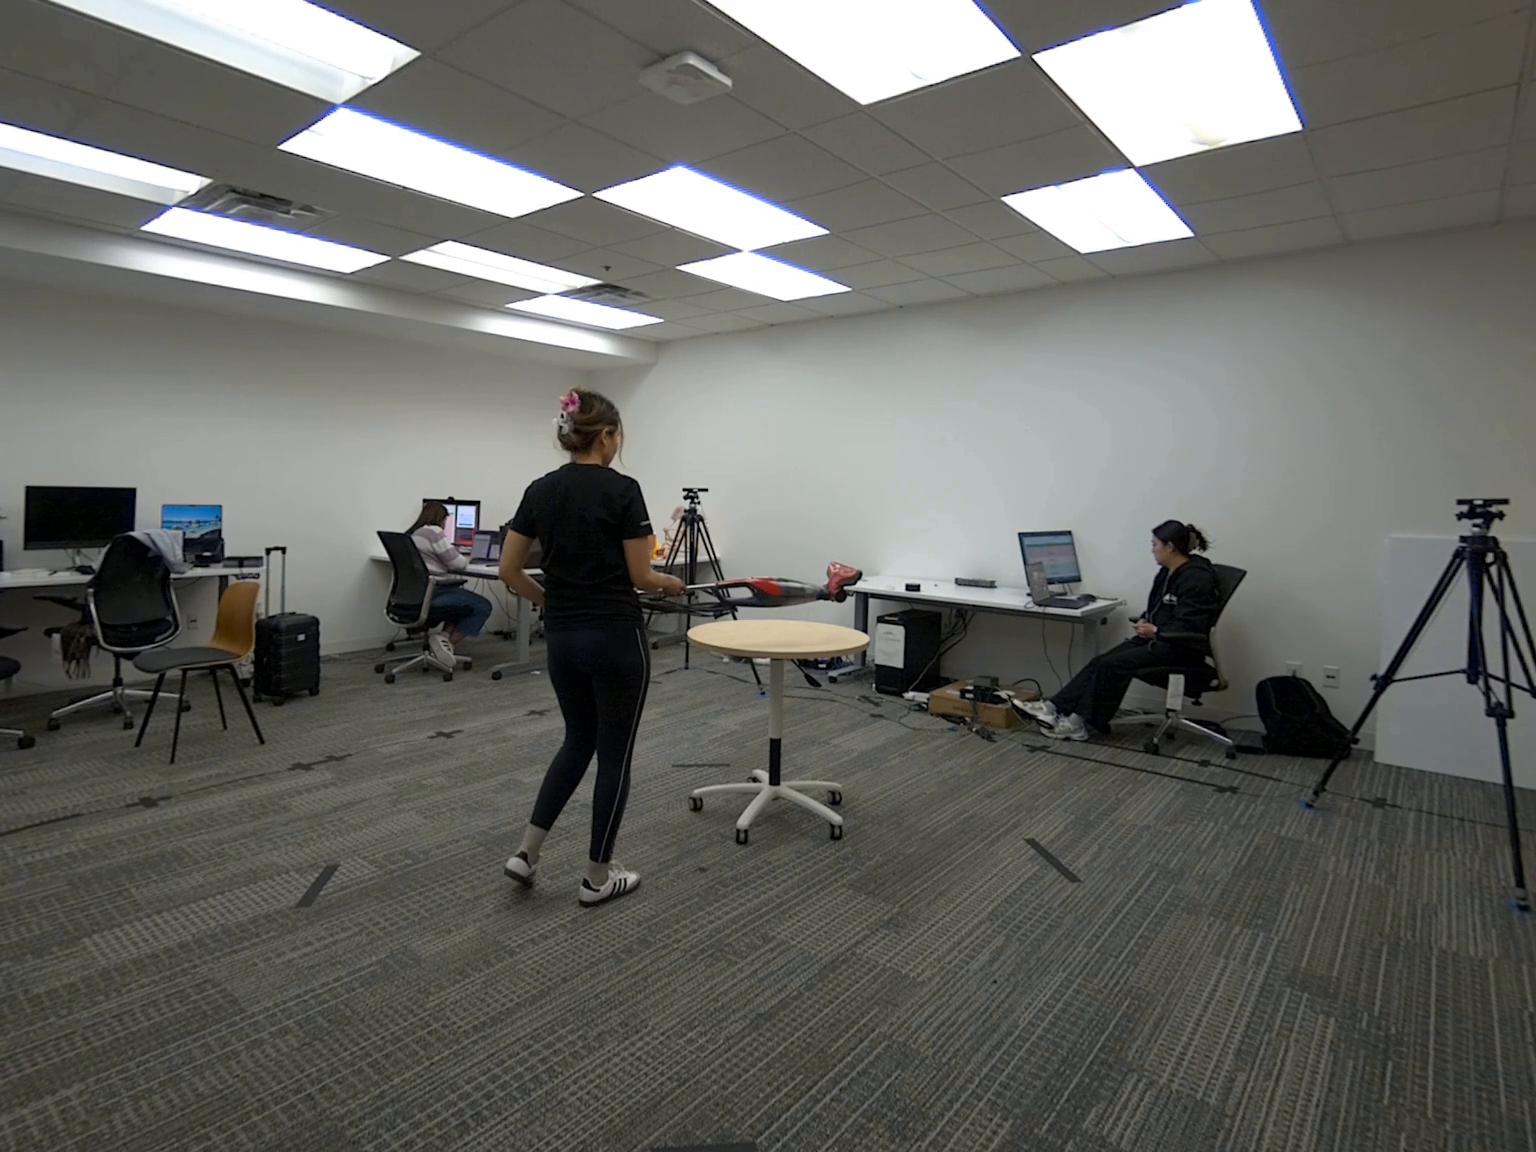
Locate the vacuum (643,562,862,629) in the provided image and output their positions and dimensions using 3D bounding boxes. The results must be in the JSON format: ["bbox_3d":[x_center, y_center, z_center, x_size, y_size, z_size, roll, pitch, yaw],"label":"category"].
[{"bbox_3d":[-0.183,0.087,3.163,1.031,0.143,0.259,-6,10,-19],"label":"vacuum"}]
